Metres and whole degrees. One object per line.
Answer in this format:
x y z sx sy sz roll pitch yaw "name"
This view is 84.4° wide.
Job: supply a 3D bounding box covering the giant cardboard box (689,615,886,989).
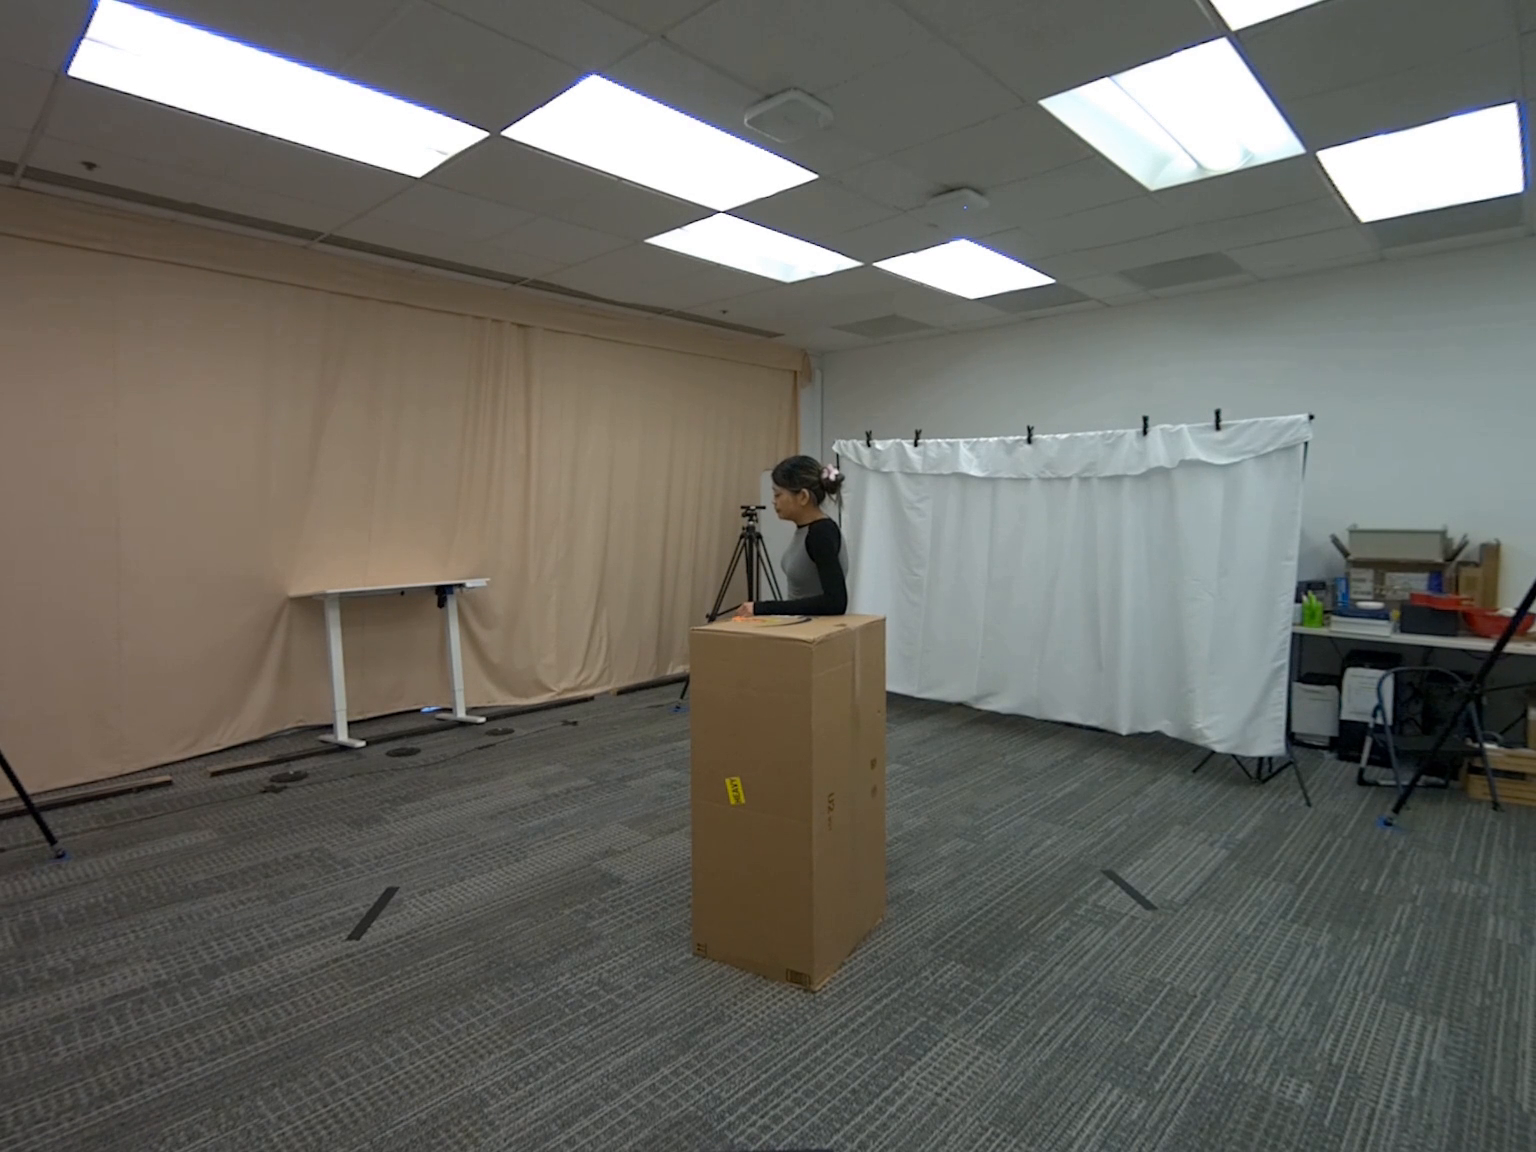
0.082 0.657 2.725 0.439 1.024 0.562 1 3 31 "giant cardboard box"
